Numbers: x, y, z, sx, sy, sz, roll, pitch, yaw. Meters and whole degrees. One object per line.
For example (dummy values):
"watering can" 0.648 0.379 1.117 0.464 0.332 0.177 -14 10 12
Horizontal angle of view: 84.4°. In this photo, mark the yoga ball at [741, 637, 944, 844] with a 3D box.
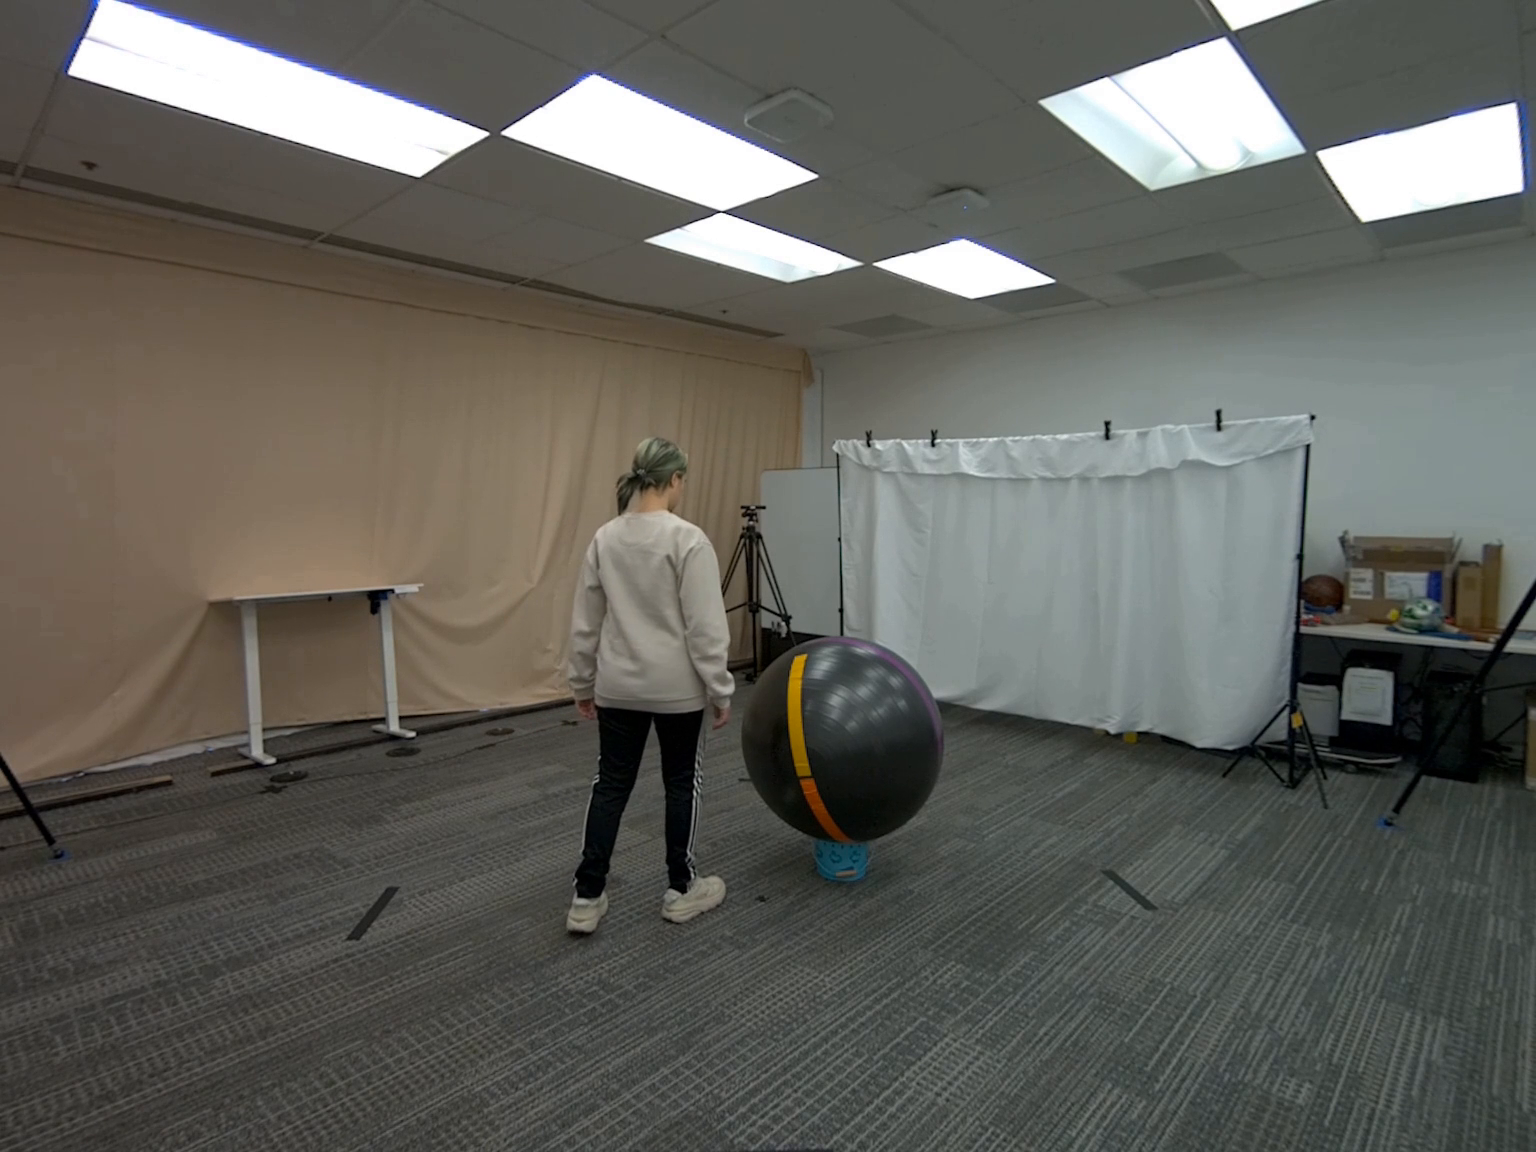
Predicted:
"yoga ball" 0.277 0.609 3.187 0.757 0.756 0.761 0 4 -2
